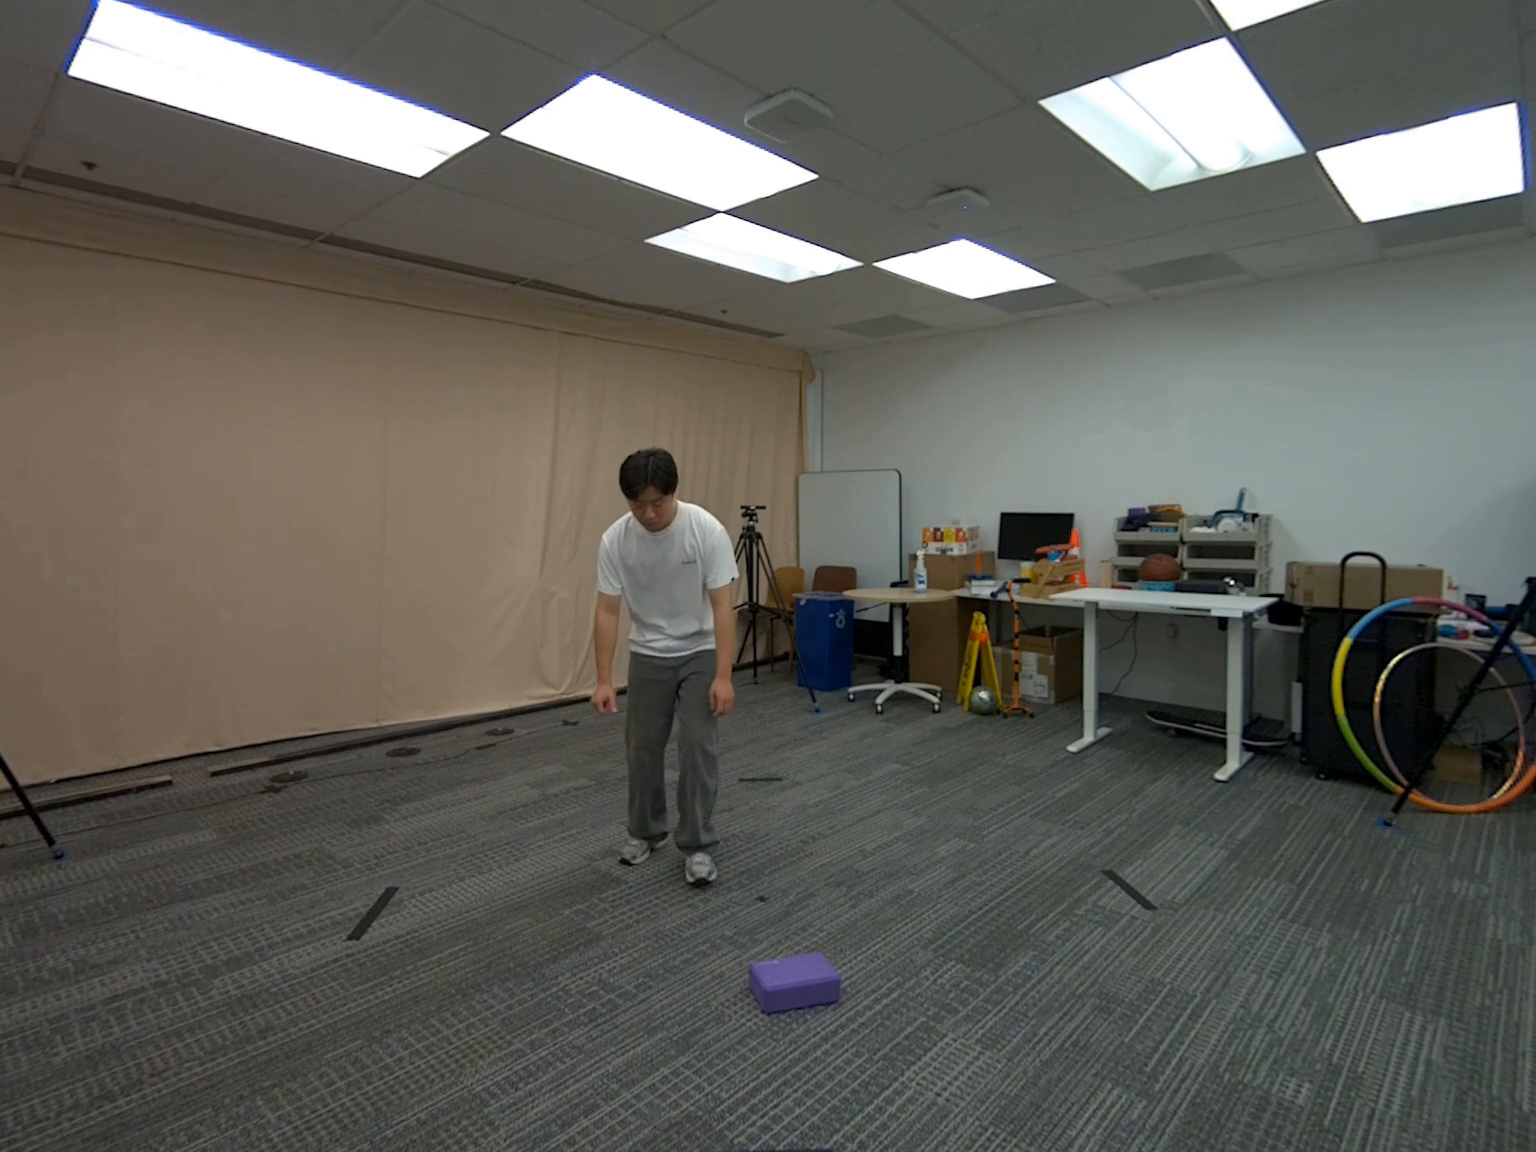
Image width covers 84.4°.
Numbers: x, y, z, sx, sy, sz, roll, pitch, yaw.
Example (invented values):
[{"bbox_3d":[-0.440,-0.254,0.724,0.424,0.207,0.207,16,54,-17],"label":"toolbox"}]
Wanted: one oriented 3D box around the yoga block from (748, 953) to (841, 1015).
[{"bbox_3d":[0.084,1.154,2.391,0.225,0.076,0.152,-1,4,-17],"label":"yoga block"}]
